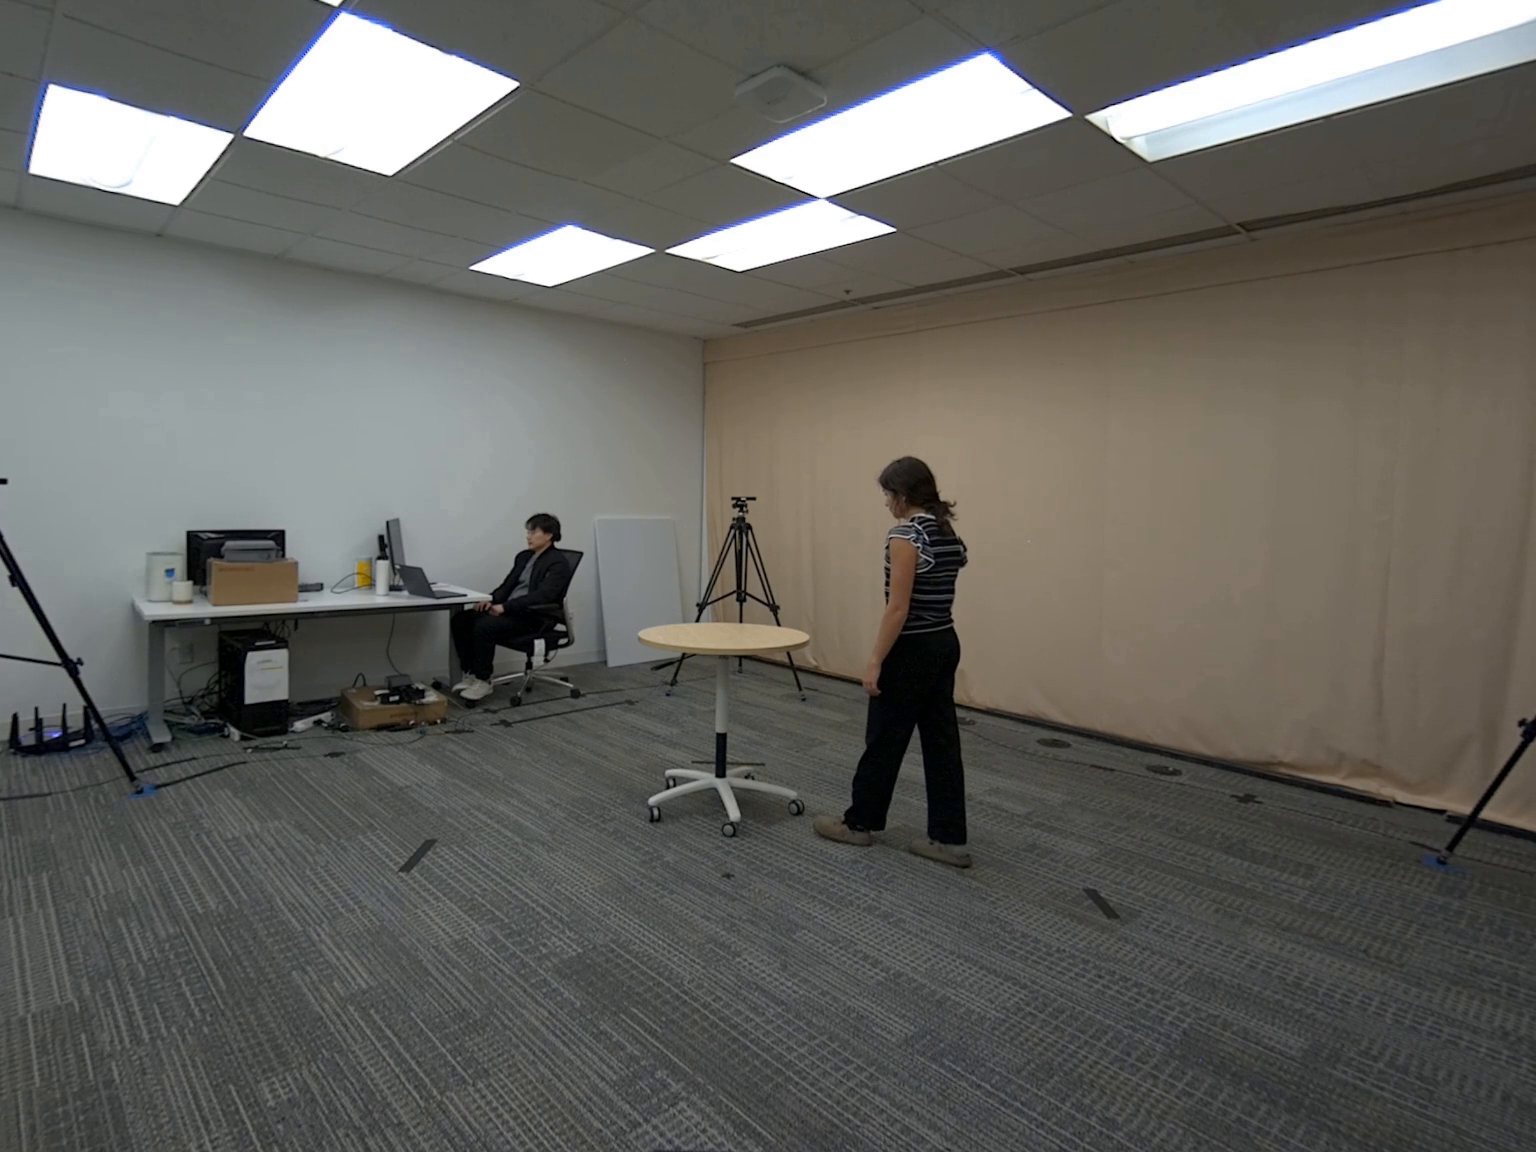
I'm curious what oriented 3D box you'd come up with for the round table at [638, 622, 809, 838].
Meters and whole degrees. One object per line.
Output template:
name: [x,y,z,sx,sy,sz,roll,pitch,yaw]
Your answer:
round table: [-0.224,0.657,3.787,0.763,0.792,0.766,1,3,-1]
